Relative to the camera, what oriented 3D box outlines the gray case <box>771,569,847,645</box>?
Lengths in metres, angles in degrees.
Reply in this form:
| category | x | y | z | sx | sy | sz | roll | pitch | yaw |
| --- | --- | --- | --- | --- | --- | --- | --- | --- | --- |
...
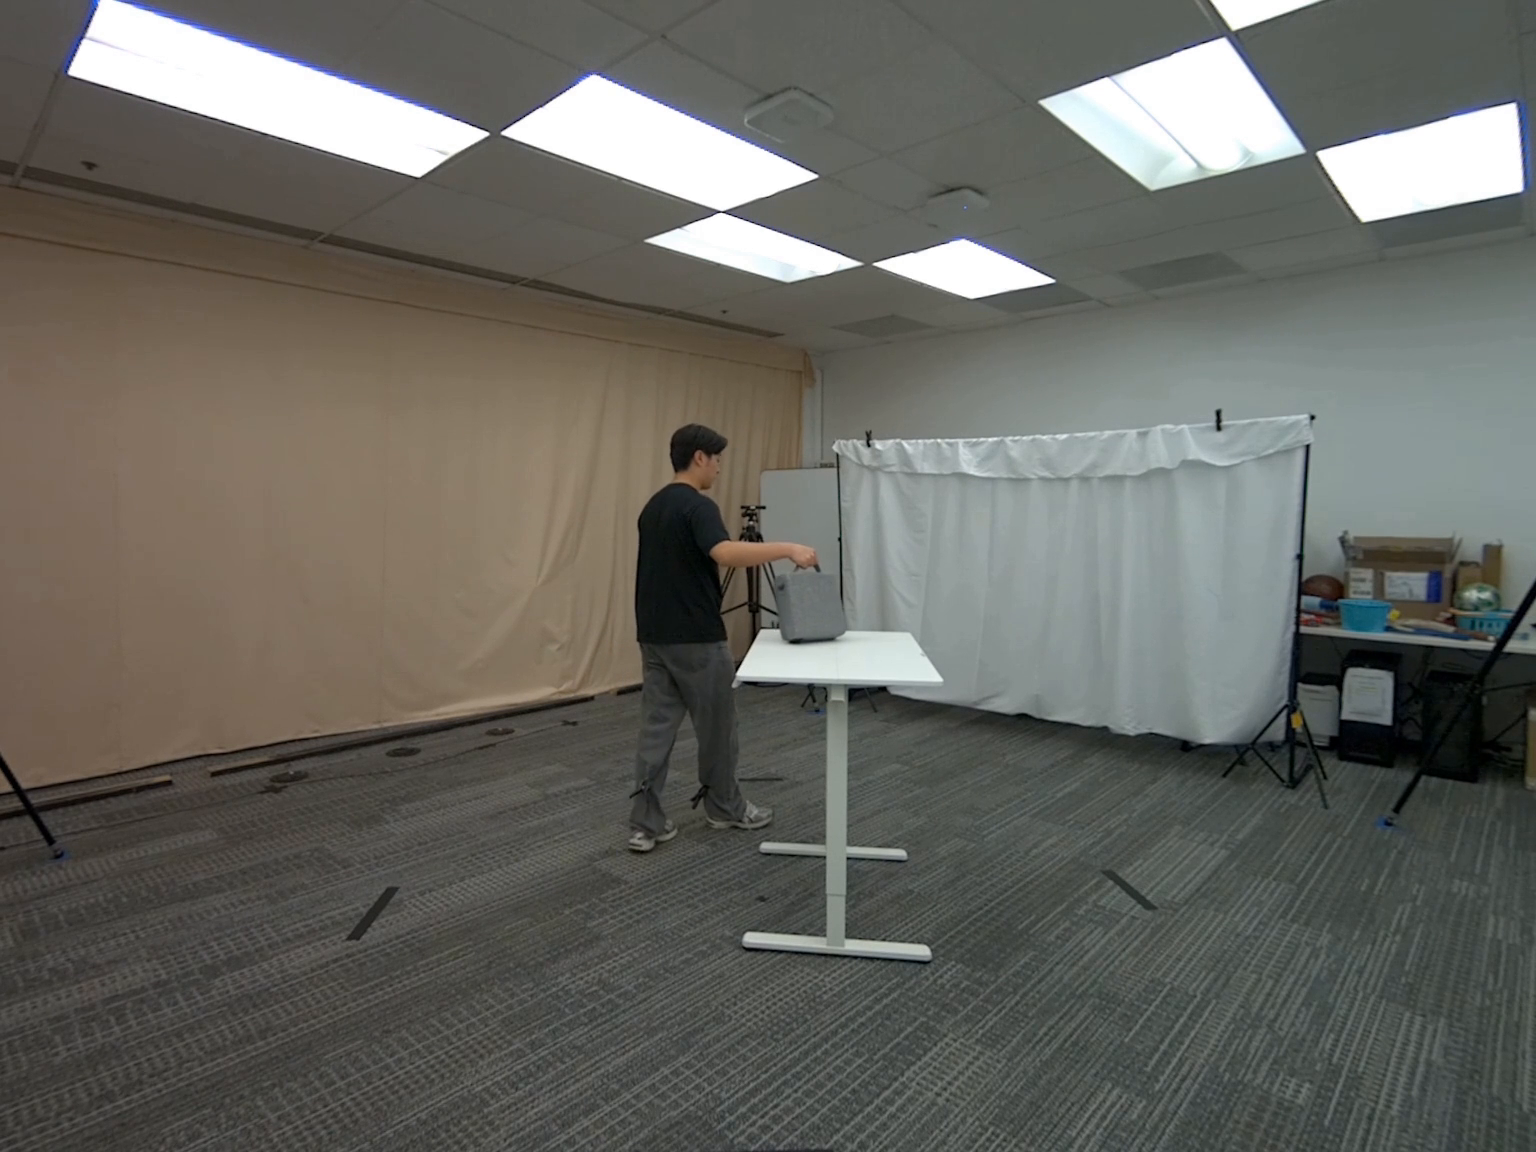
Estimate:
| category | x | y | z | sx | sy | sz | roll | pitch | yaw |
| --- | --- | --- | --- | --- | --- | --- | --- | --- | --- |
| gray case | 0.163 | 0.104 | 3.166 | 0.256 | 0.289 | 0.105 | -1 | -12 | -32 |
